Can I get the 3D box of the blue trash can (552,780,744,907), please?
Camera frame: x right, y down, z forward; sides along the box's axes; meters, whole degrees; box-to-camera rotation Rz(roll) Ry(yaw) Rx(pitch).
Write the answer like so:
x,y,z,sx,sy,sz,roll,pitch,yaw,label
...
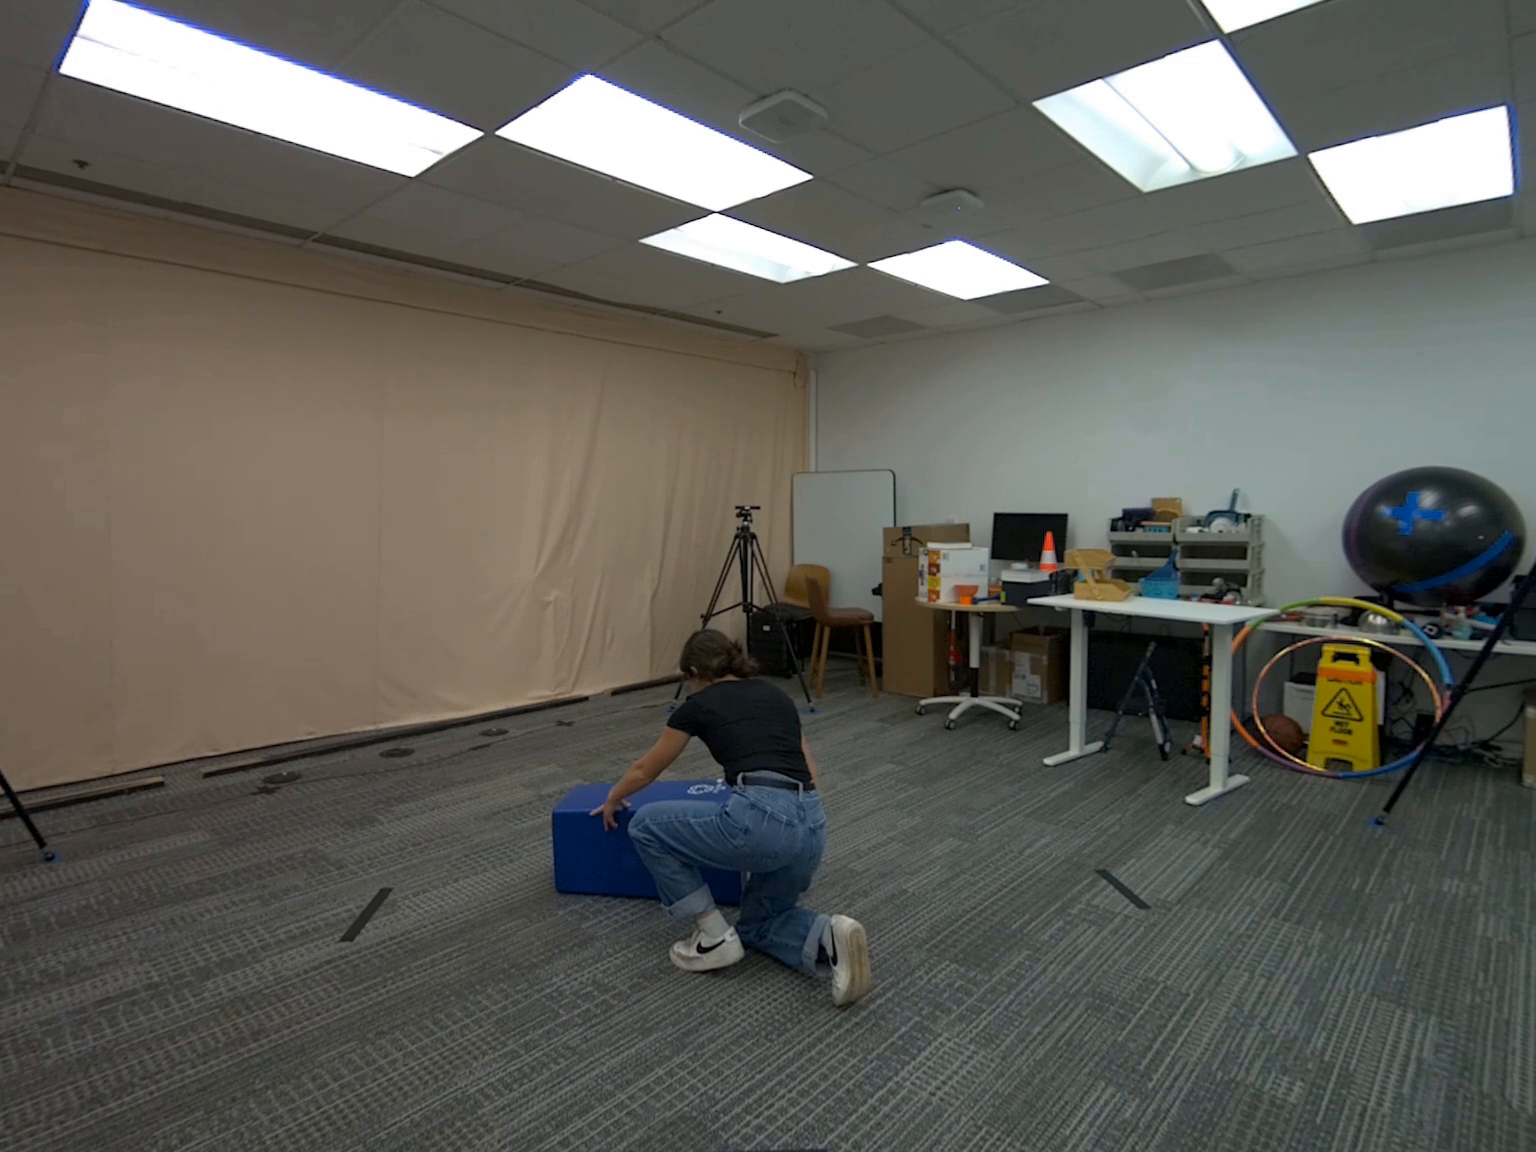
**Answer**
x,y,z,sx,sy,sz,roll,pitch,yaw,label
-0.406,0.970,3.111,0.720,0.377,0.372,-3,4,8,blue trash can
